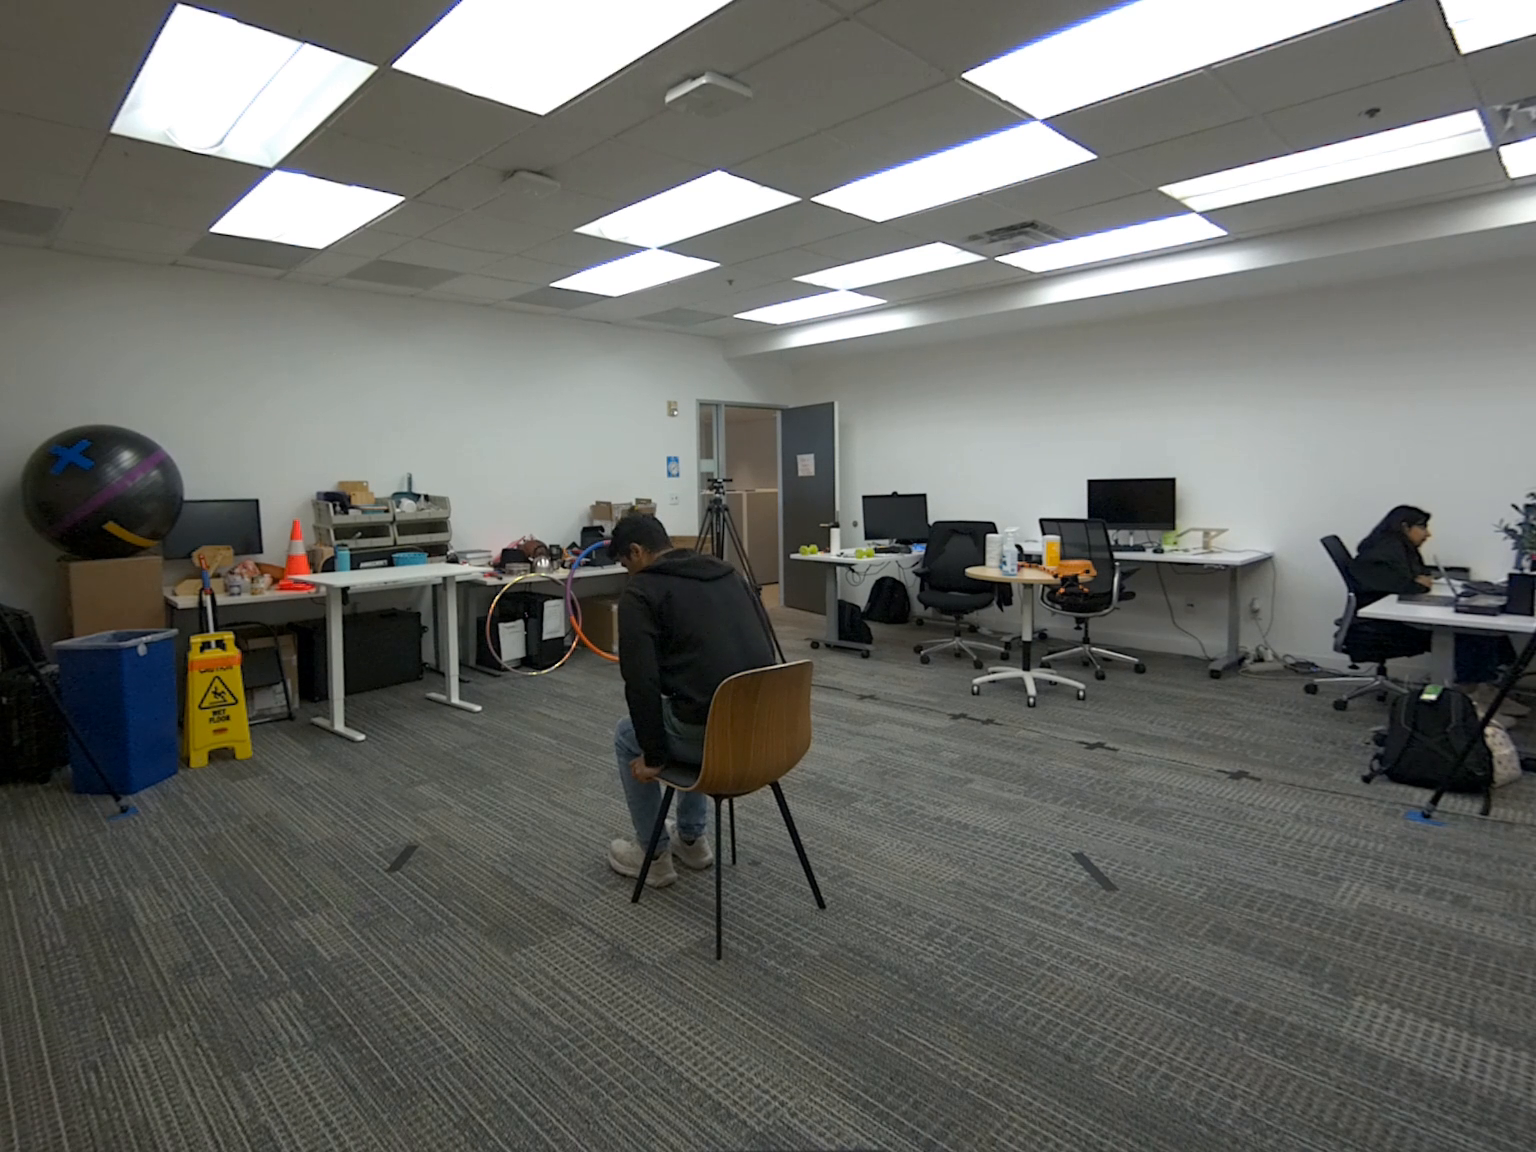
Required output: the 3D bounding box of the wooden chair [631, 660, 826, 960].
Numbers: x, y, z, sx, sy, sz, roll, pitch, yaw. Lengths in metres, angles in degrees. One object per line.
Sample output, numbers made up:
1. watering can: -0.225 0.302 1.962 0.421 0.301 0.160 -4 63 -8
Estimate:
1. wooden chair: -0.144 0.658 2.776 0.465 0.872 0.540 -5 9 -41
